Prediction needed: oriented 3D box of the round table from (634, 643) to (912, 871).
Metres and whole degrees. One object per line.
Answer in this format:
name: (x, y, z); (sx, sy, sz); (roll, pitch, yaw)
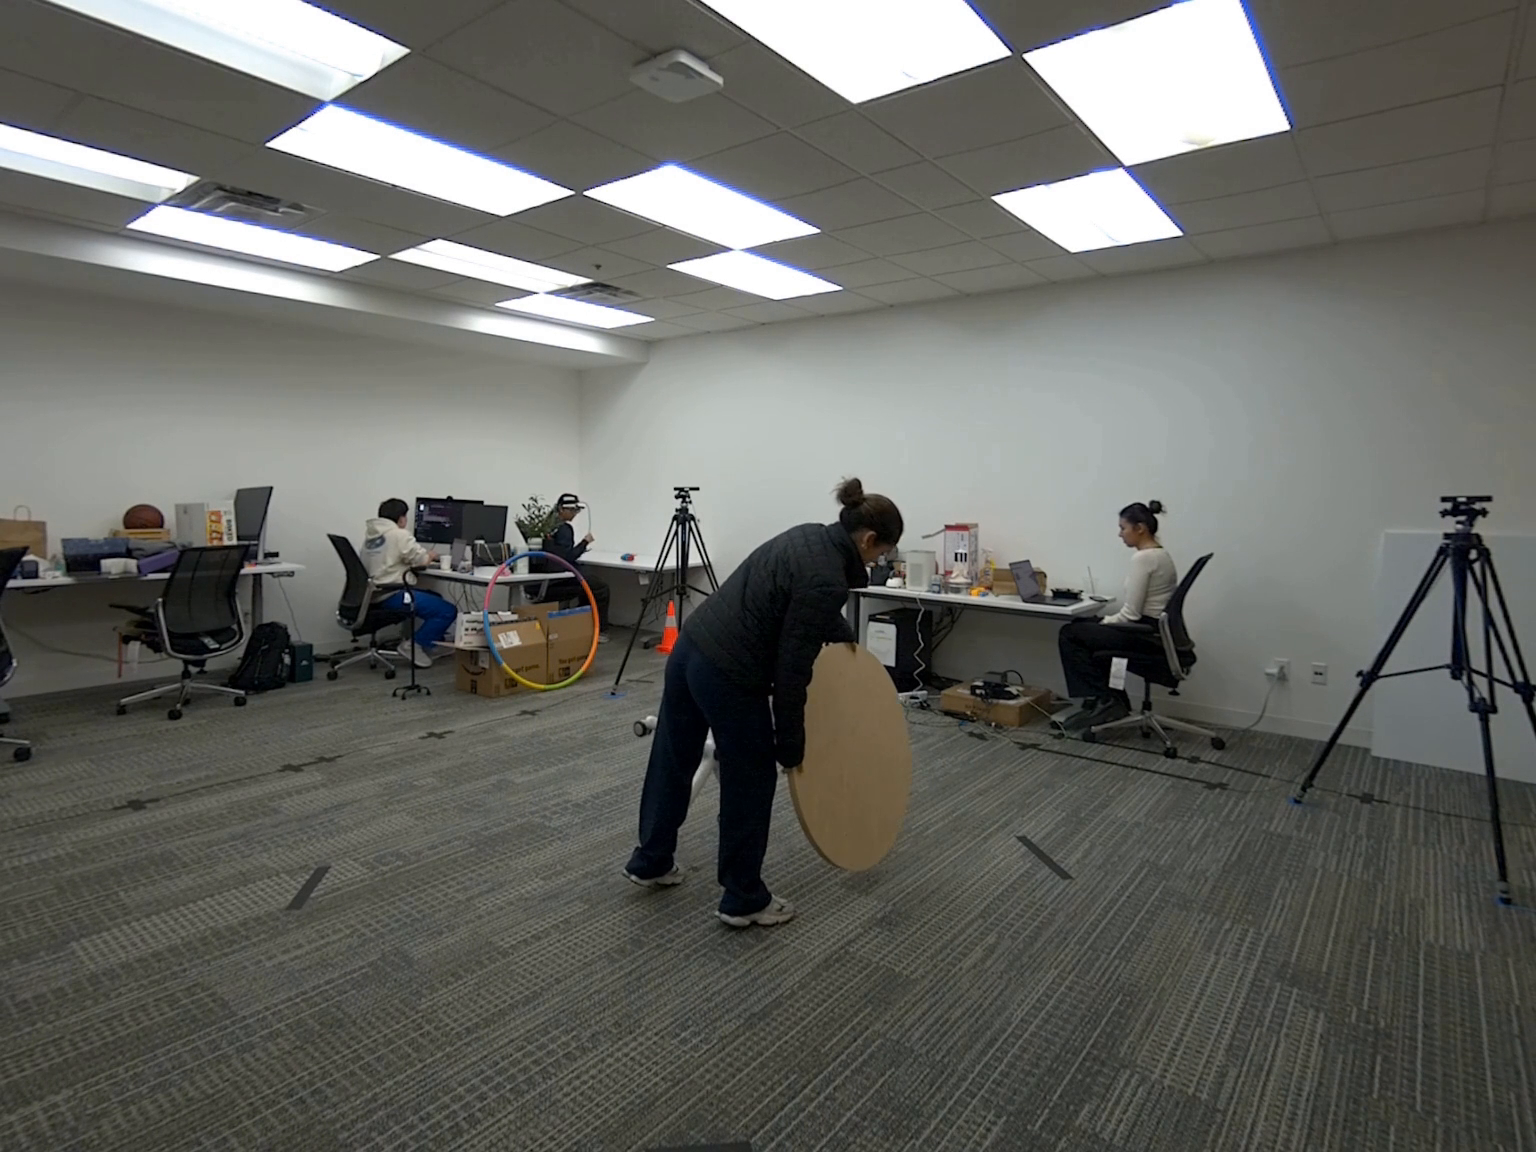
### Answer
round table: (0.007, 0.656, 3.219); (0.806, 0.789, 0.762); (-11, -4, 38)
